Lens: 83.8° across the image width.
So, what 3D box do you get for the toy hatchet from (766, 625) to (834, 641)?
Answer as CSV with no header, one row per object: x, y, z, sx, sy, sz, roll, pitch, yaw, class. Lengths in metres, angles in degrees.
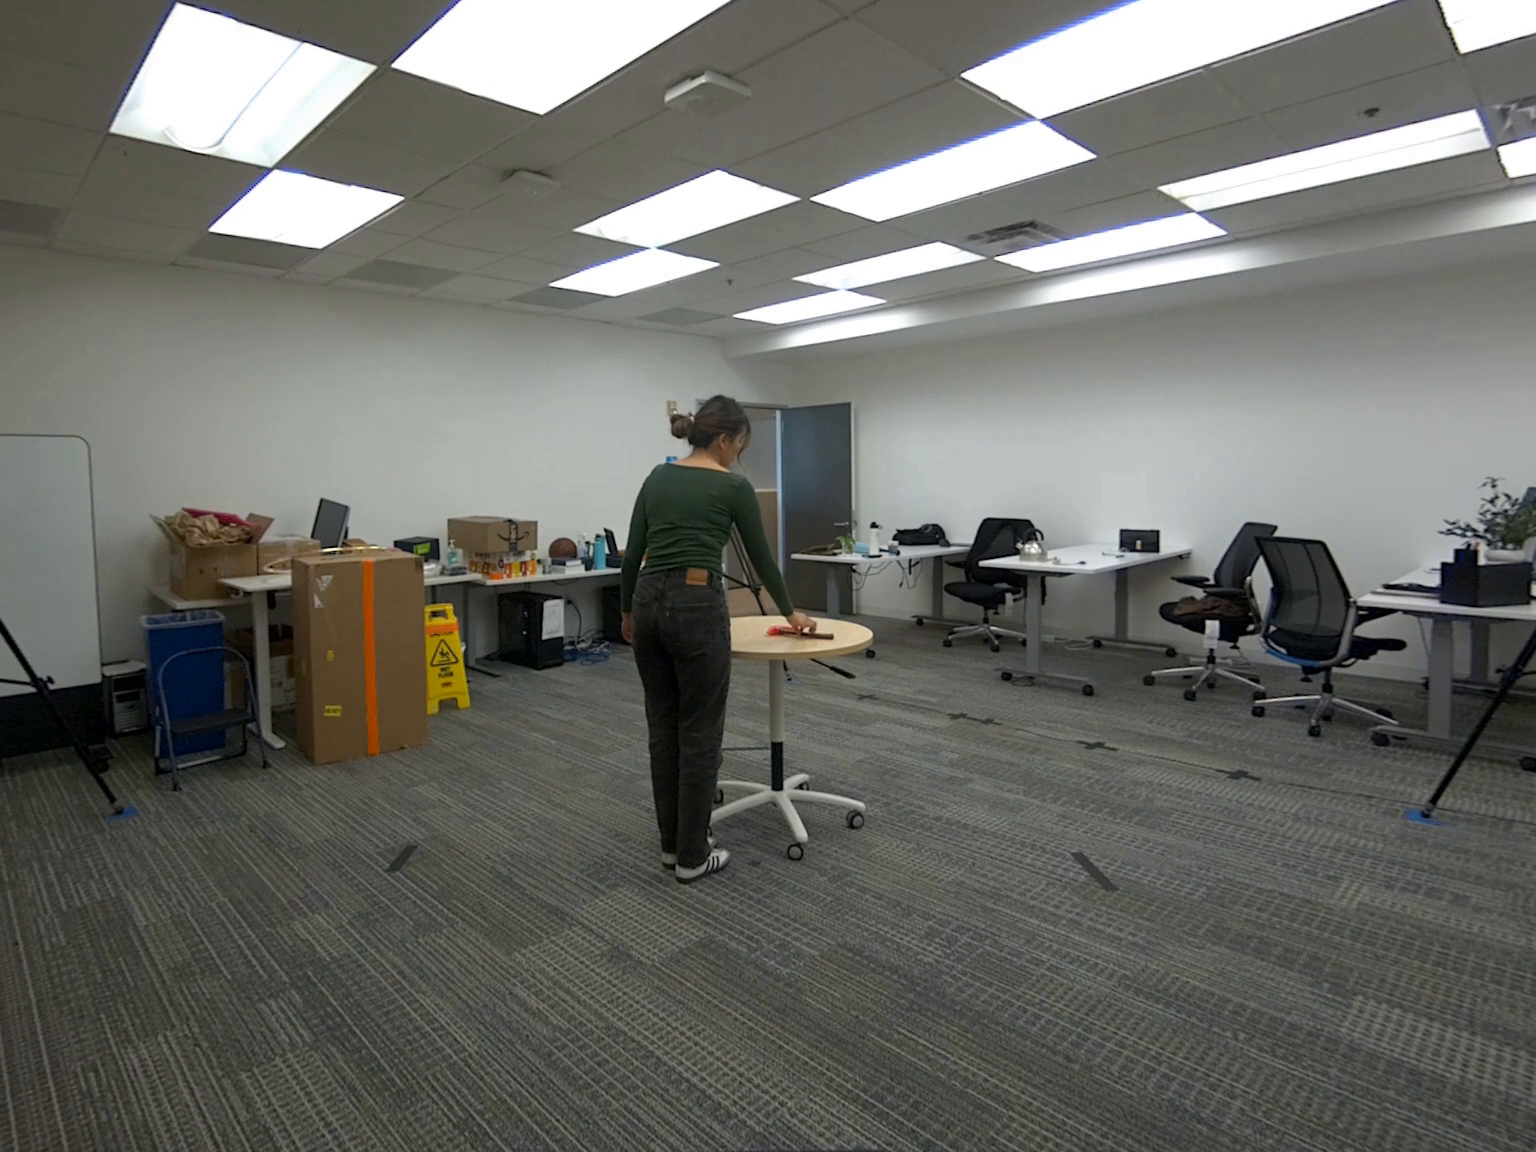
0.143,0.222,3.331,0.275,0.029,0.129,3,8,17,toy hatchet
